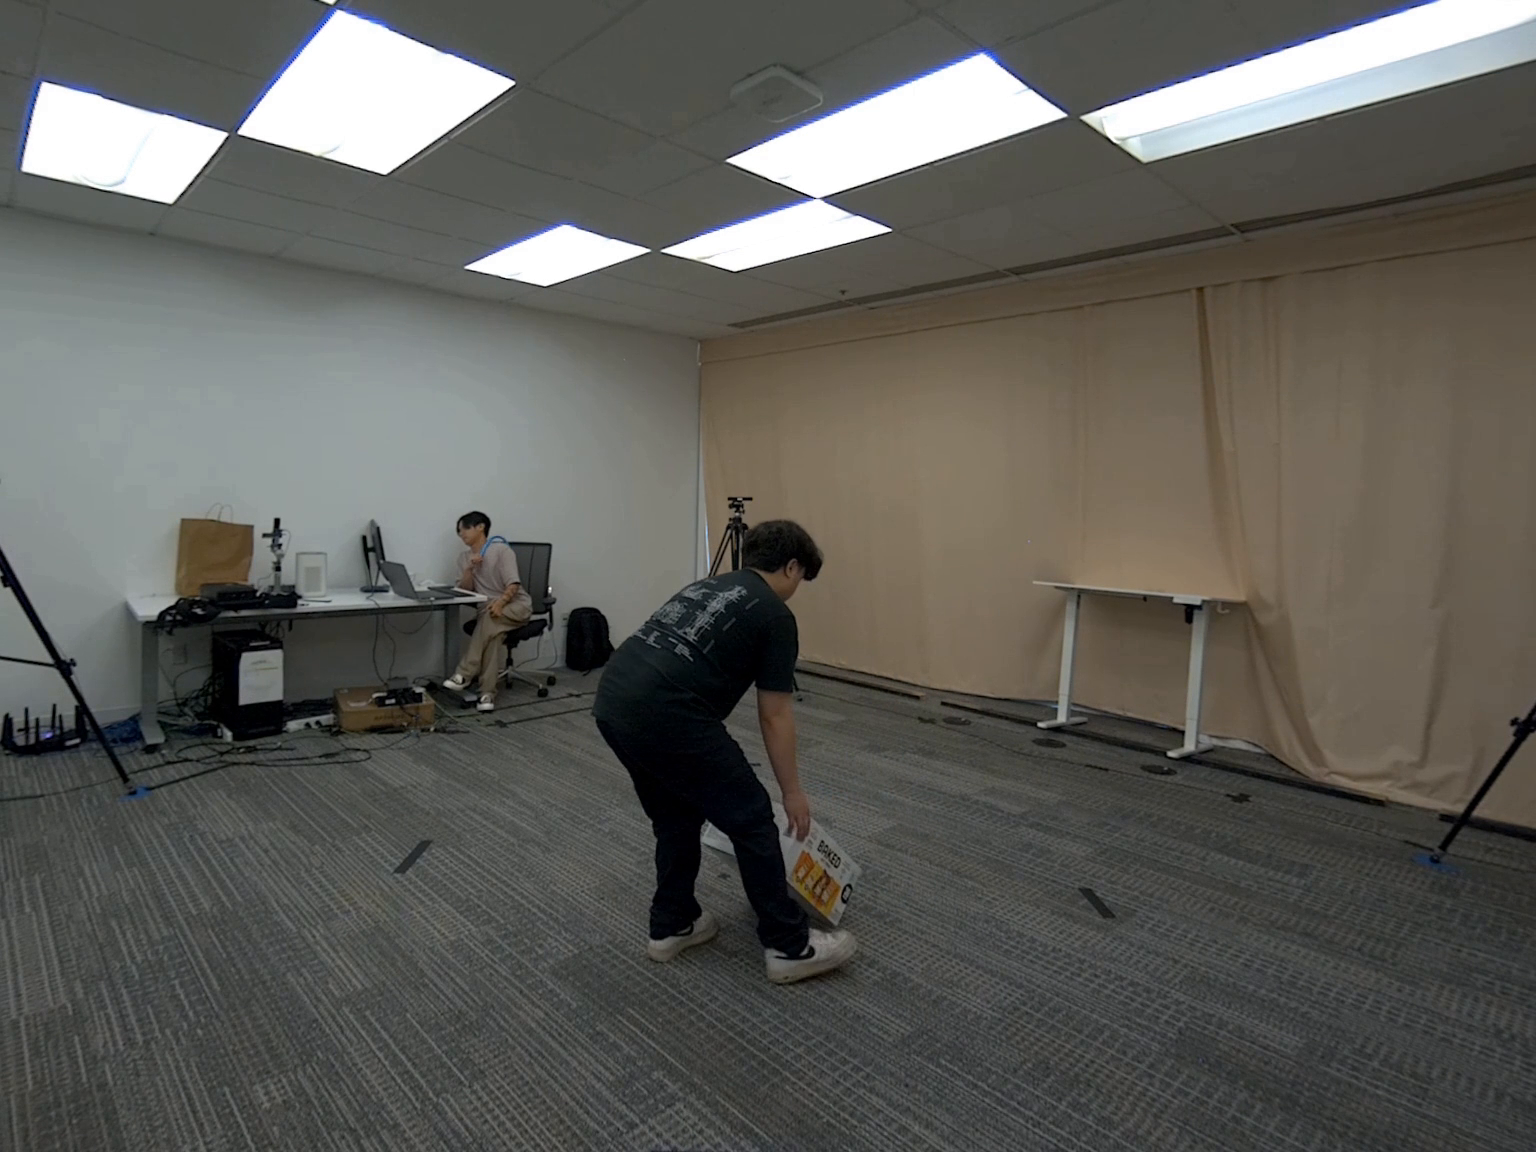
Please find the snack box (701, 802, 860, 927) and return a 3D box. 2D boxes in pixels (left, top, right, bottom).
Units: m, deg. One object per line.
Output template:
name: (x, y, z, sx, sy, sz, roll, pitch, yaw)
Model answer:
snack box: (0.044, 0.932, 2.784, 0.349, 0.207, 0.393, 3, -38, 43)
